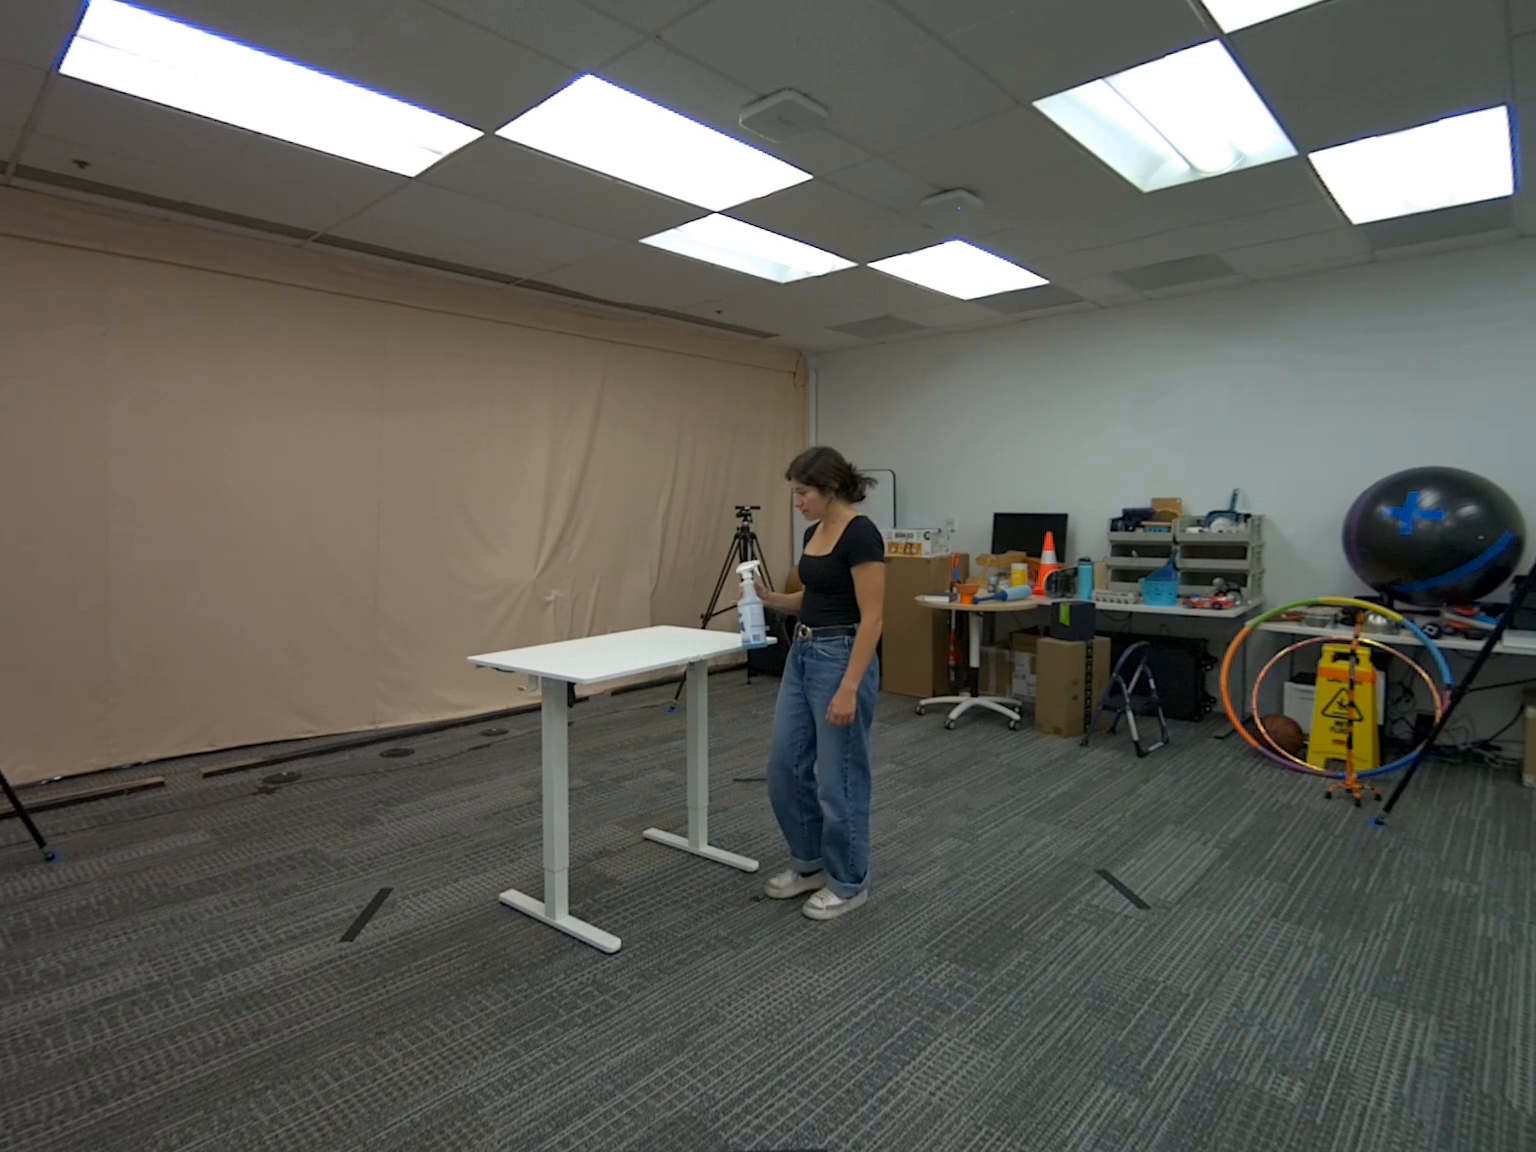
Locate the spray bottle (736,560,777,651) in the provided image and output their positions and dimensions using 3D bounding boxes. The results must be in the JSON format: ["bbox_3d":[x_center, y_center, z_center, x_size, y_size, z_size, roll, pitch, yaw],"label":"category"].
[{"bbox_3d":[-0.061,0.106,2.918,0.084,0.298,0.092,-1,-6,-42],"label":"spray bottle"}]
